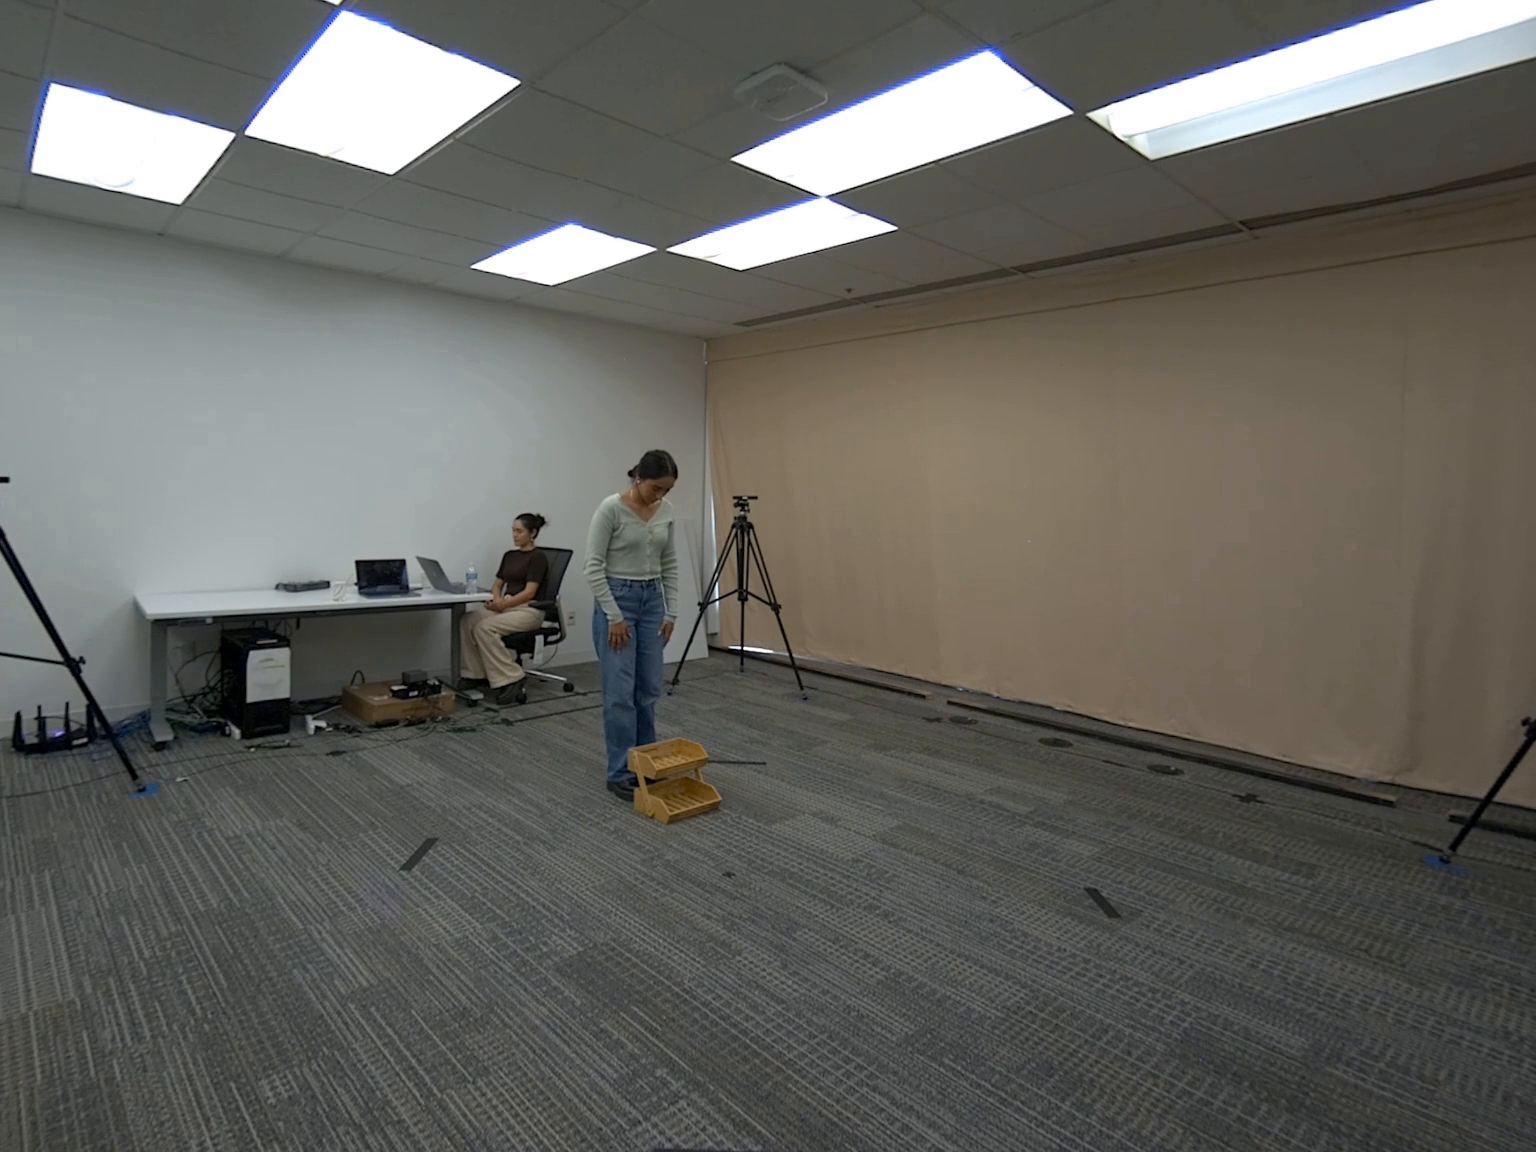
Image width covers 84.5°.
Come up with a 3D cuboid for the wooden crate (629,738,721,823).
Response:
[{"bbox_3d":[-0.426,0.904,3.763,0.317,0.273,0.309,-3,5,-45],"label":"wooden crate"}]
